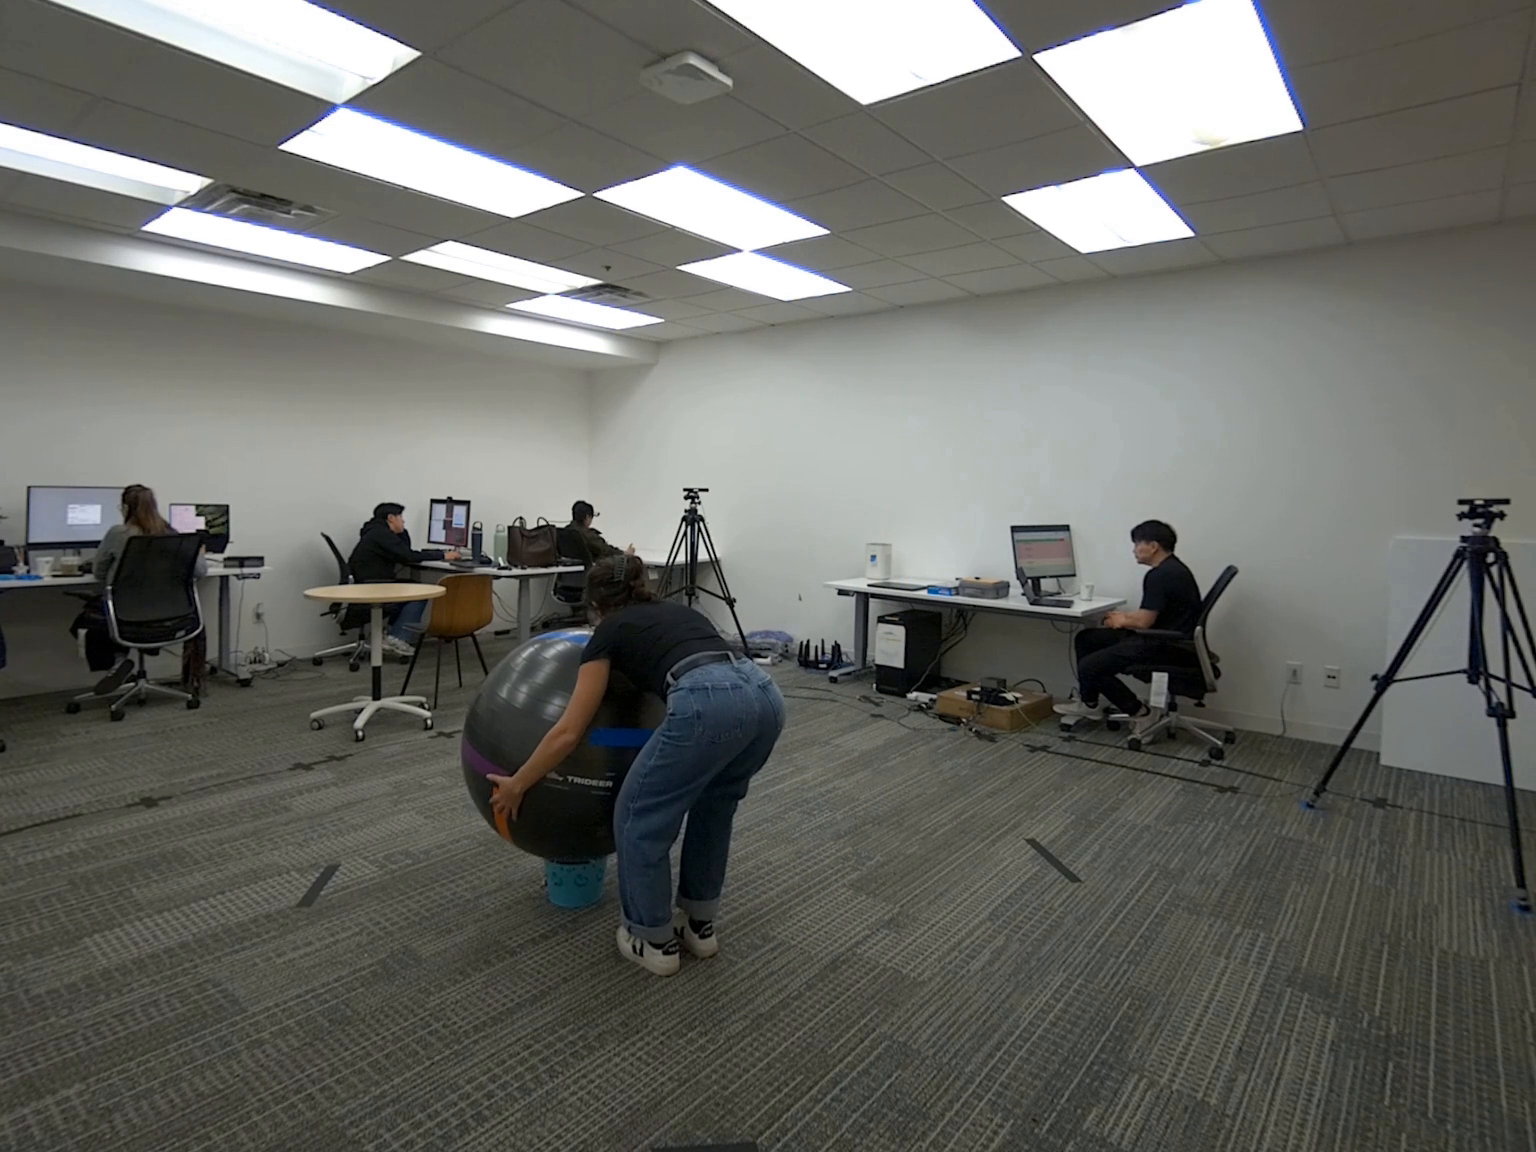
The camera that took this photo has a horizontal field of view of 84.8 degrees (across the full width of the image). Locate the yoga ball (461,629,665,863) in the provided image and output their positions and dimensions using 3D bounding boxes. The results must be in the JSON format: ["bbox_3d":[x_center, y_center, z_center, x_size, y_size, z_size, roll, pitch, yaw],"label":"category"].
[{"bbox_3d":[-0.654,0.551,2.861,0.757,0.755,0.762,1,4,-2],"label":"yoga ball"}]
